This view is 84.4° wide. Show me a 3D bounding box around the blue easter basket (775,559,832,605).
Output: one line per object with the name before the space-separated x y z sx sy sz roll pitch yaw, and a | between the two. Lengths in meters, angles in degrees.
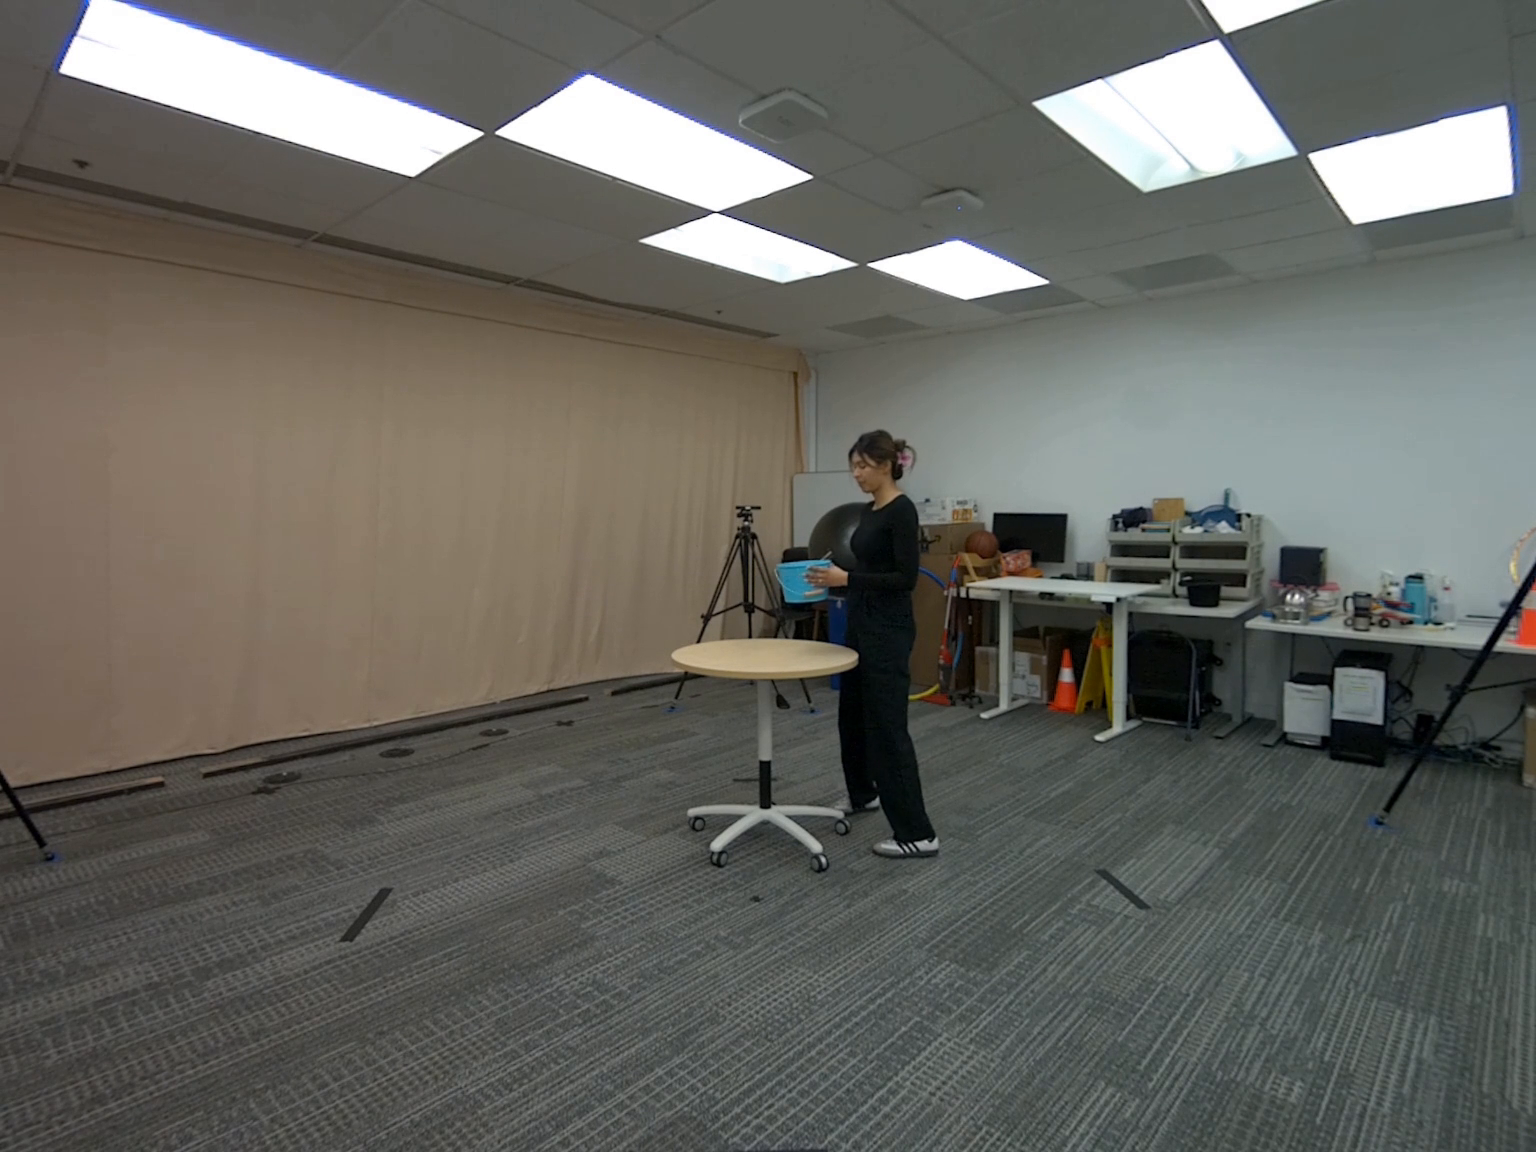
blue easter basket | 0.169 0.026 3.523 0.243 0.156 0.244 -3 2 -2
